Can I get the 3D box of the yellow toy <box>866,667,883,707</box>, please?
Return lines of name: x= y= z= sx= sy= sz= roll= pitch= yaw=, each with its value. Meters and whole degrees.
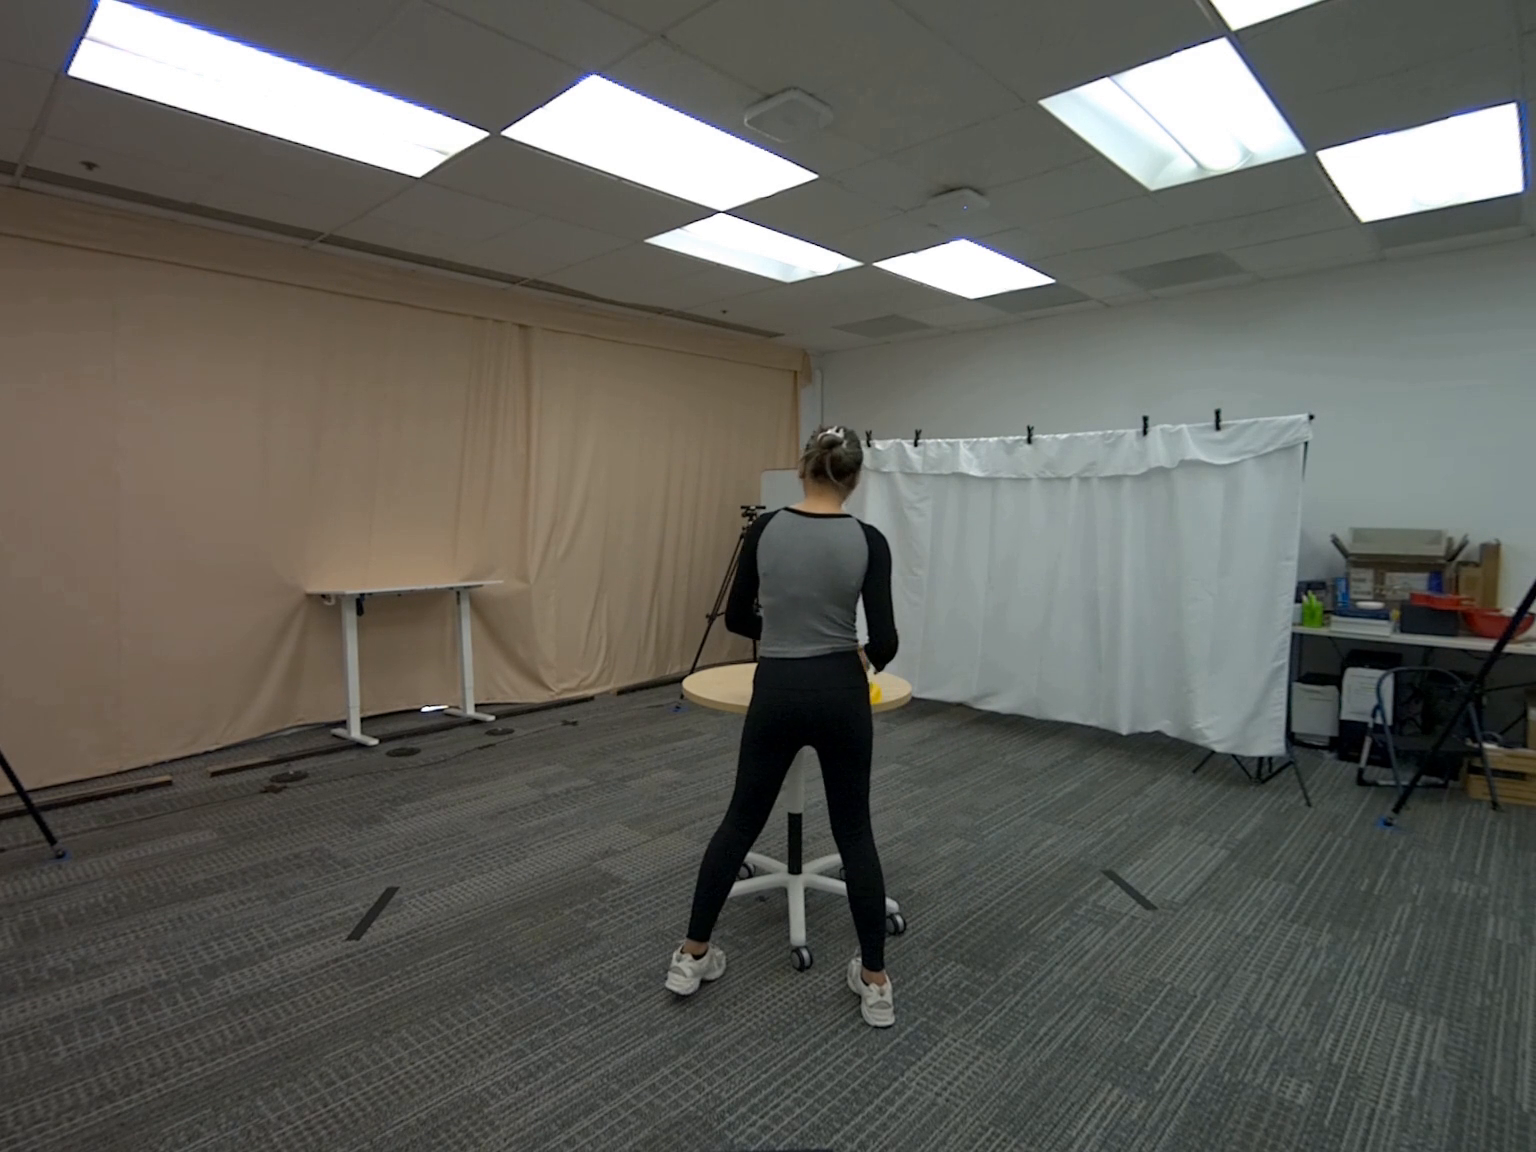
yellow toy: x=0.250 y=0.267 z=2.594 sx=0.211 sy=0.230 sz=0.187 roll=2 pitch=2 yaw=32
